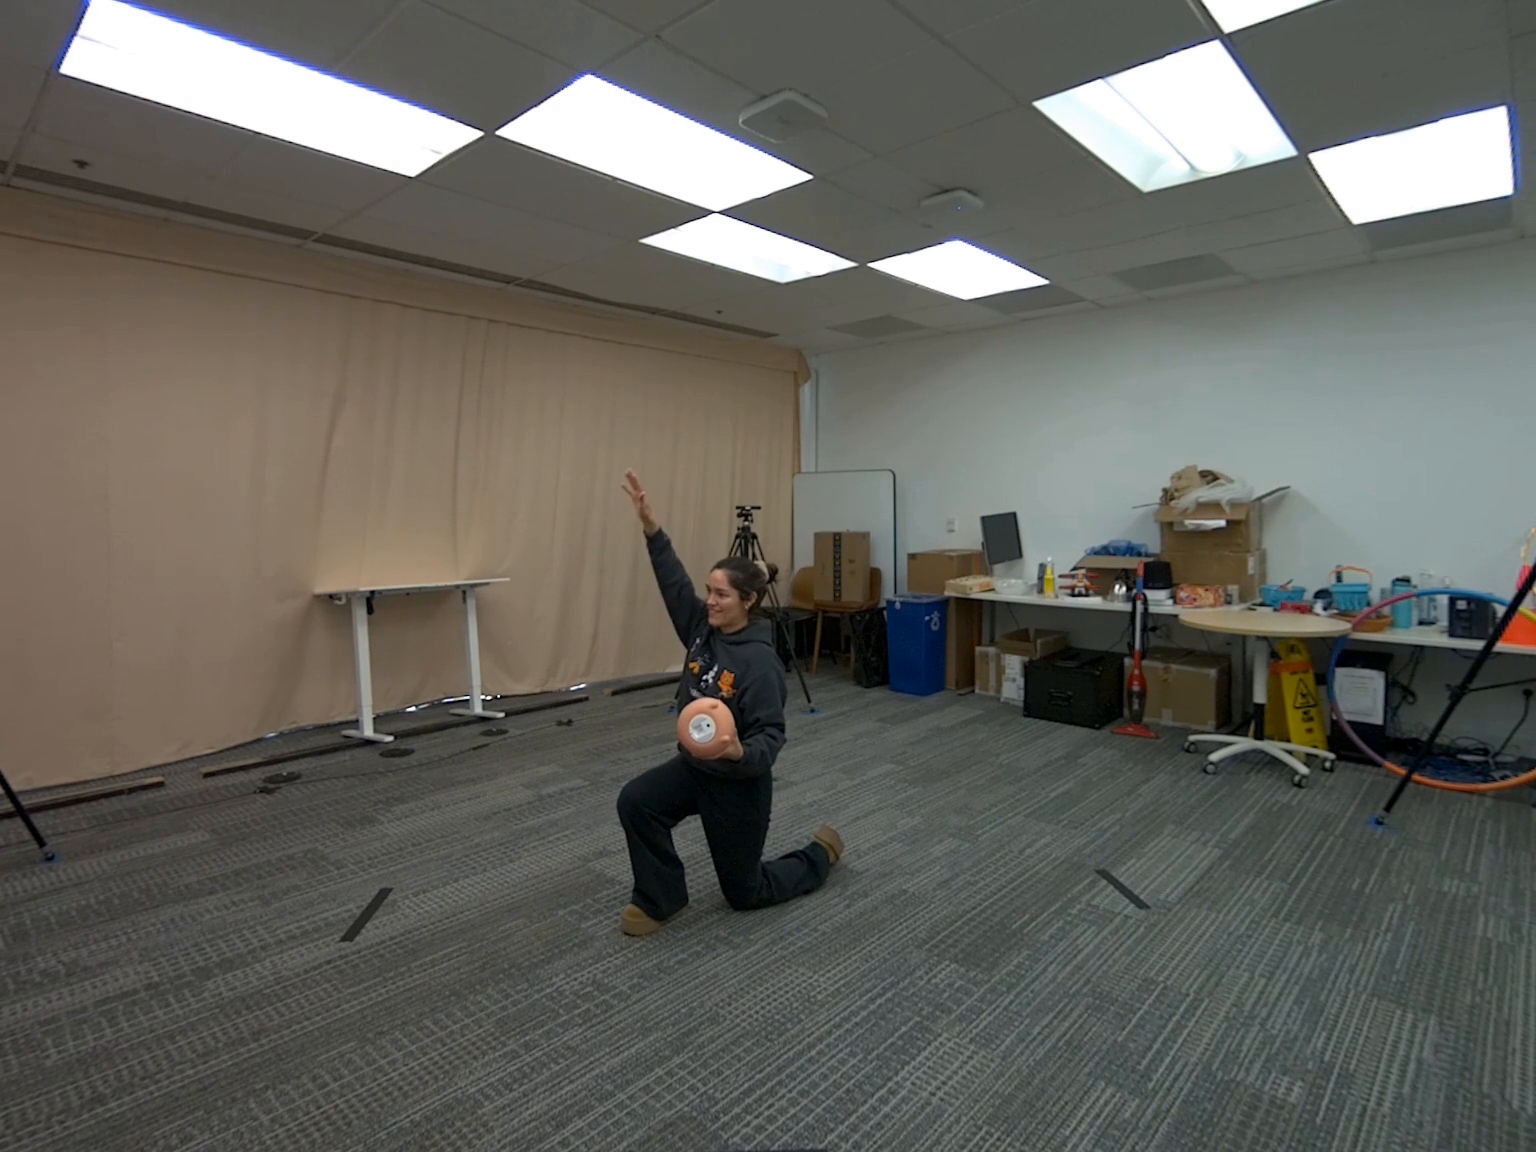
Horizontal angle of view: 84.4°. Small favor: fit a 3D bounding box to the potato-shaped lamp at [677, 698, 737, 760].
[{"bbox_3d":[-0.162,0.437,2.476,0.173,0.166,0.194,-25,-9,11],"label":"potato-shaped lamp"}]
